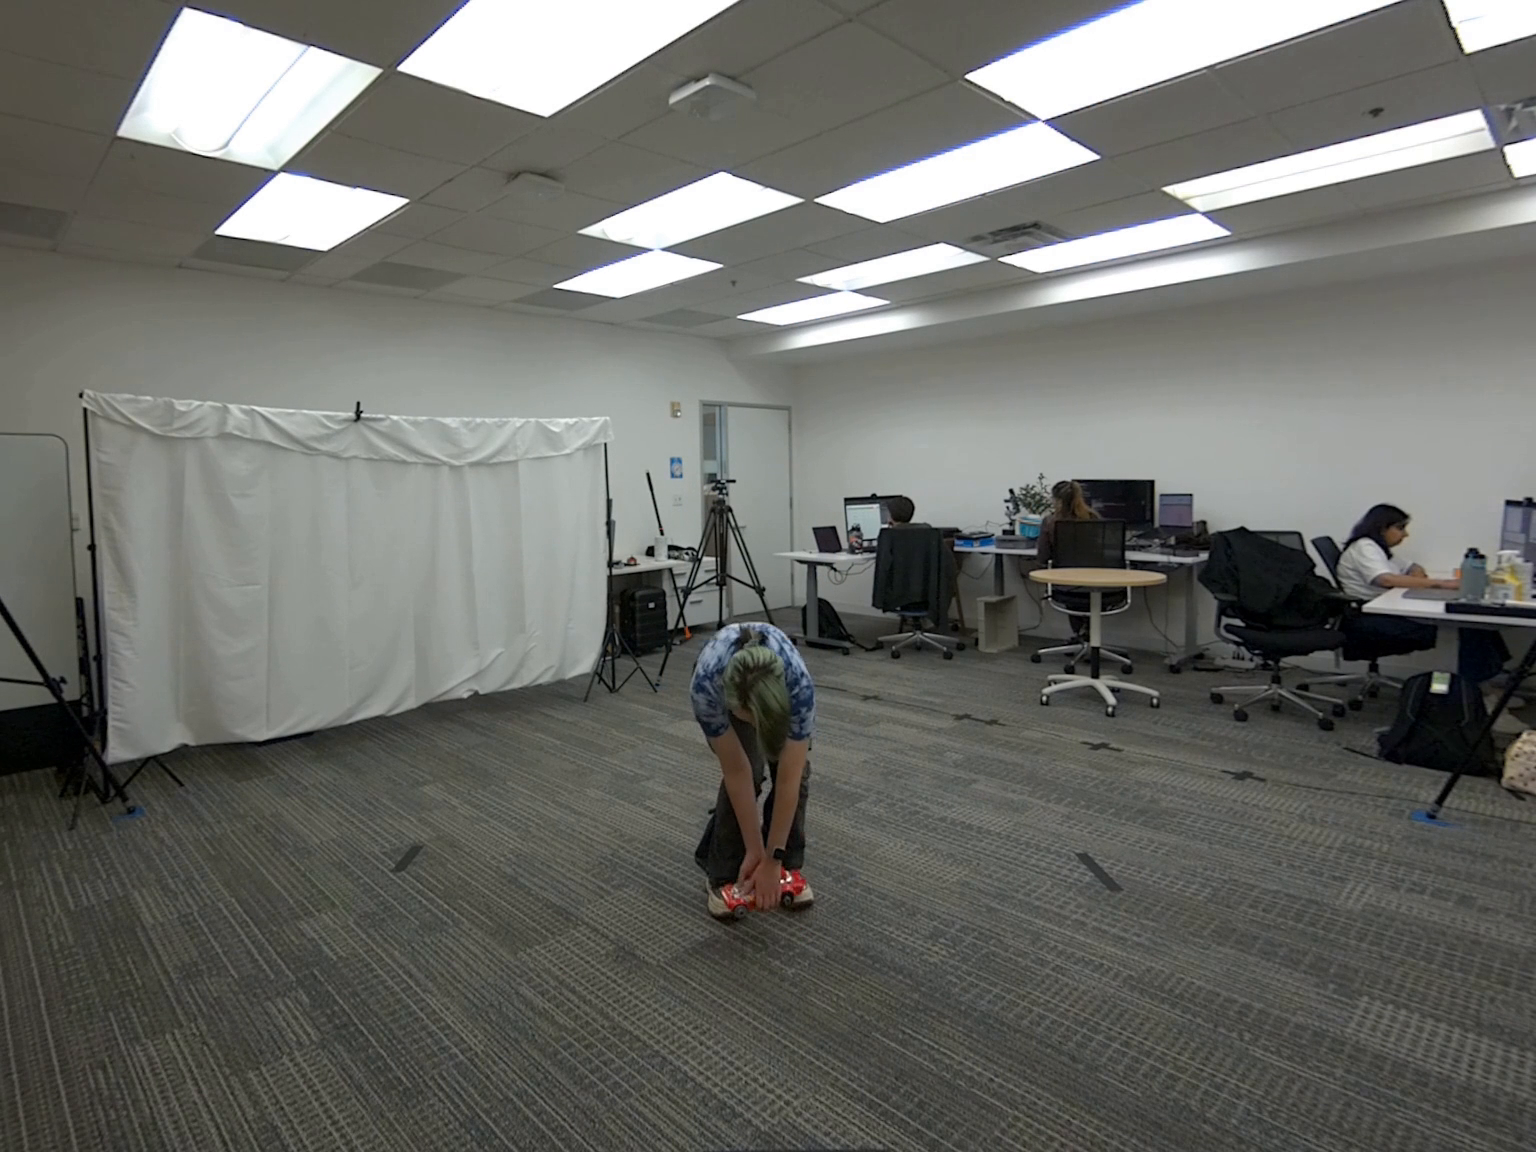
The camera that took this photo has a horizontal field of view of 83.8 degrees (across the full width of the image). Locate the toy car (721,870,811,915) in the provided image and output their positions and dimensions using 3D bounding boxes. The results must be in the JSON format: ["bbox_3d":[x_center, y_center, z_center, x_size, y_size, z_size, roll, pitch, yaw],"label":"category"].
[{"bbox_3d":[-0.005,0.960,2.572,0.253,0.082,0.133,-18,12,-11],"label":"toy car"}]
